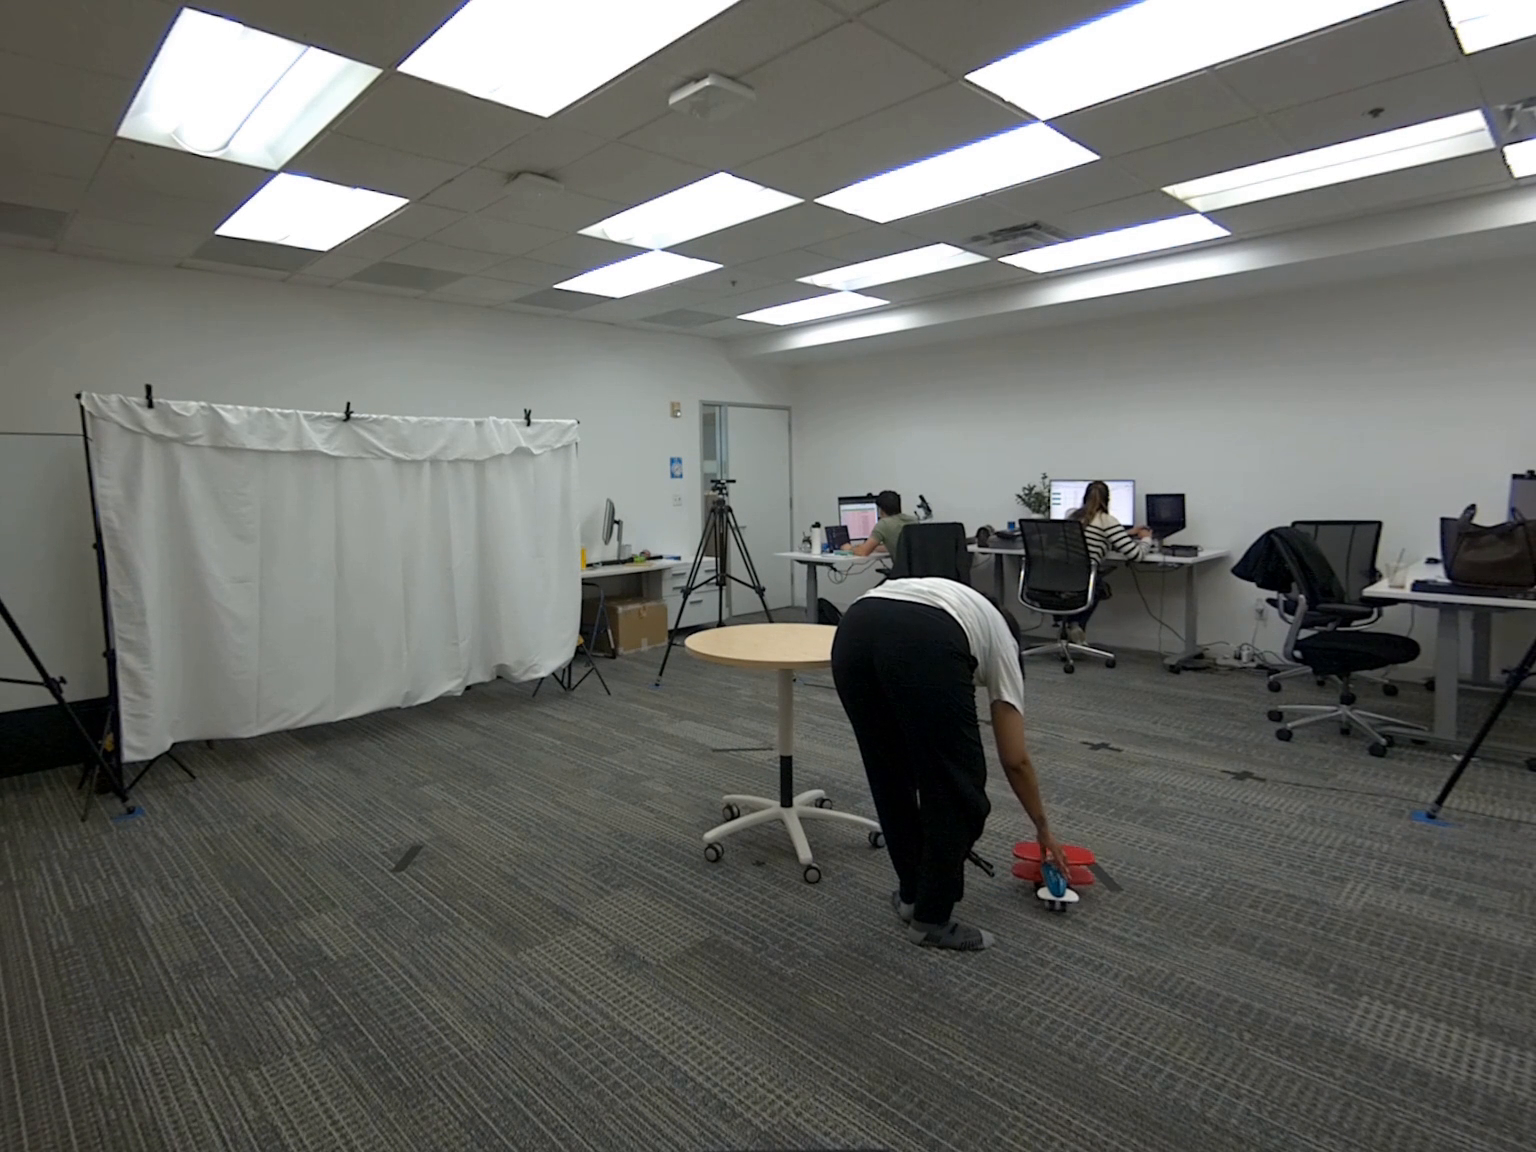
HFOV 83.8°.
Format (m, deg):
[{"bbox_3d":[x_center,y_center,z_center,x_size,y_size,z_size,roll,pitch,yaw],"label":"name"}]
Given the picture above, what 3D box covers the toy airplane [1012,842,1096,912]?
[{"bbox_3d":[0.962,0.985,2.817,0.248,0.156,0.263,-2,4,-15],"label":"toy airplane"}]
